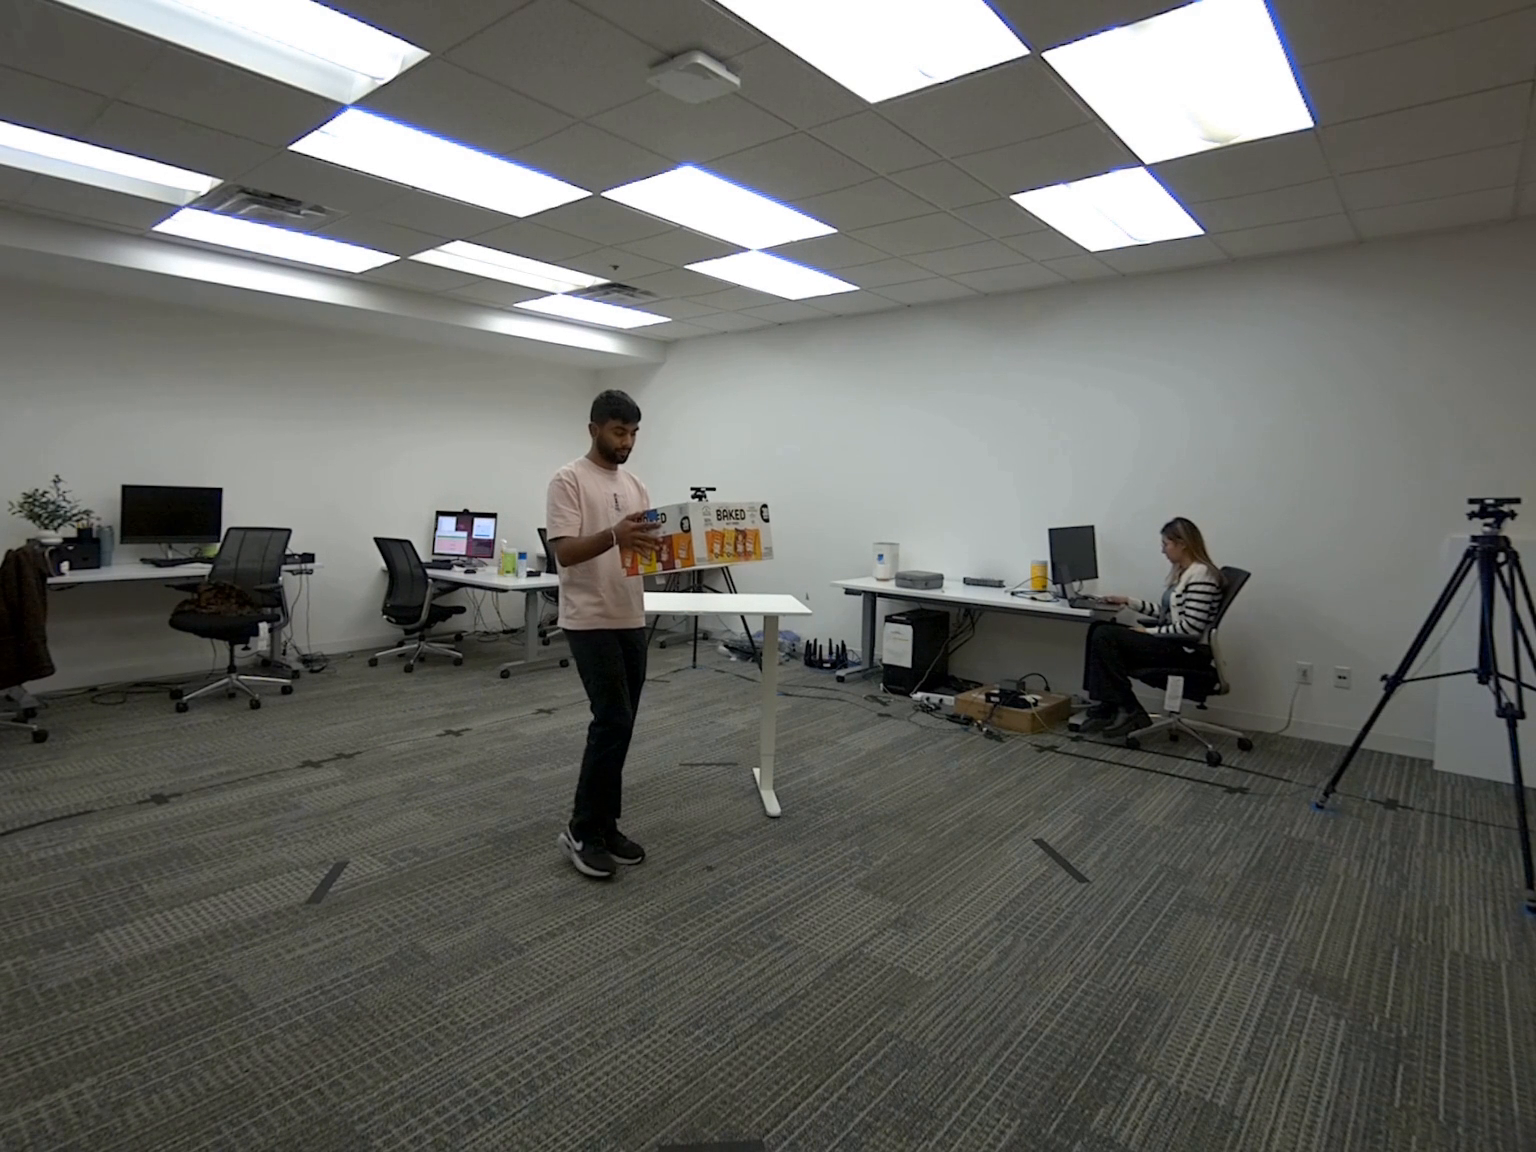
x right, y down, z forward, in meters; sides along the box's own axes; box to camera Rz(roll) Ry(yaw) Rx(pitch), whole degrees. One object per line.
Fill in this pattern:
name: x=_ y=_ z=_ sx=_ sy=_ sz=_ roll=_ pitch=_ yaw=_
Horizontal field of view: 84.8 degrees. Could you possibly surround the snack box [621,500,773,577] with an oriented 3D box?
snack box: x=-0.257 y=-0.127 z=2.877 sx=0.349 sy=0.206 sz=0.393 roll=-8 pitch=-1 yaw=38
